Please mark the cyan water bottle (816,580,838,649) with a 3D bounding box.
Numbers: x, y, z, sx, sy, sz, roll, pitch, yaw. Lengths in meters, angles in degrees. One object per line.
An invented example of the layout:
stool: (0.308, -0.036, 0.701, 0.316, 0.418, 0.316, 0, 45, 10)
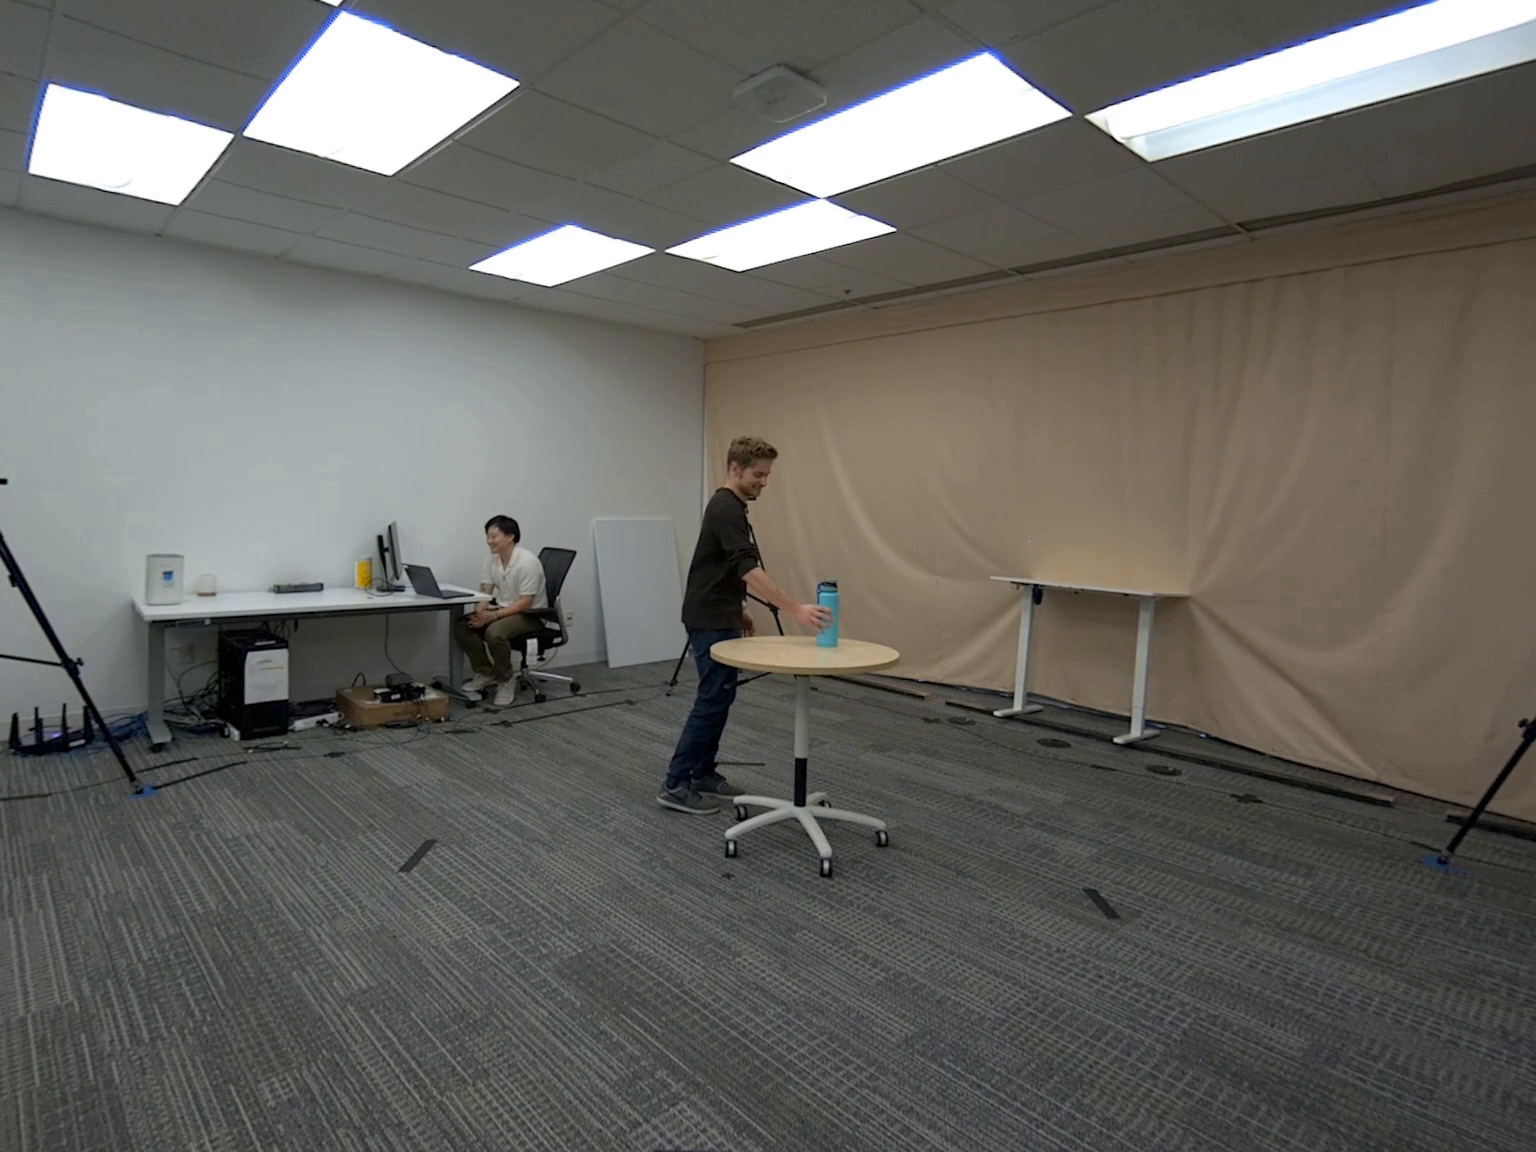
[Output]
cyan water bottle: (0.246, 0.154, 3.557, 0.092, 0.283, 0.092, -1, 3, -1)
